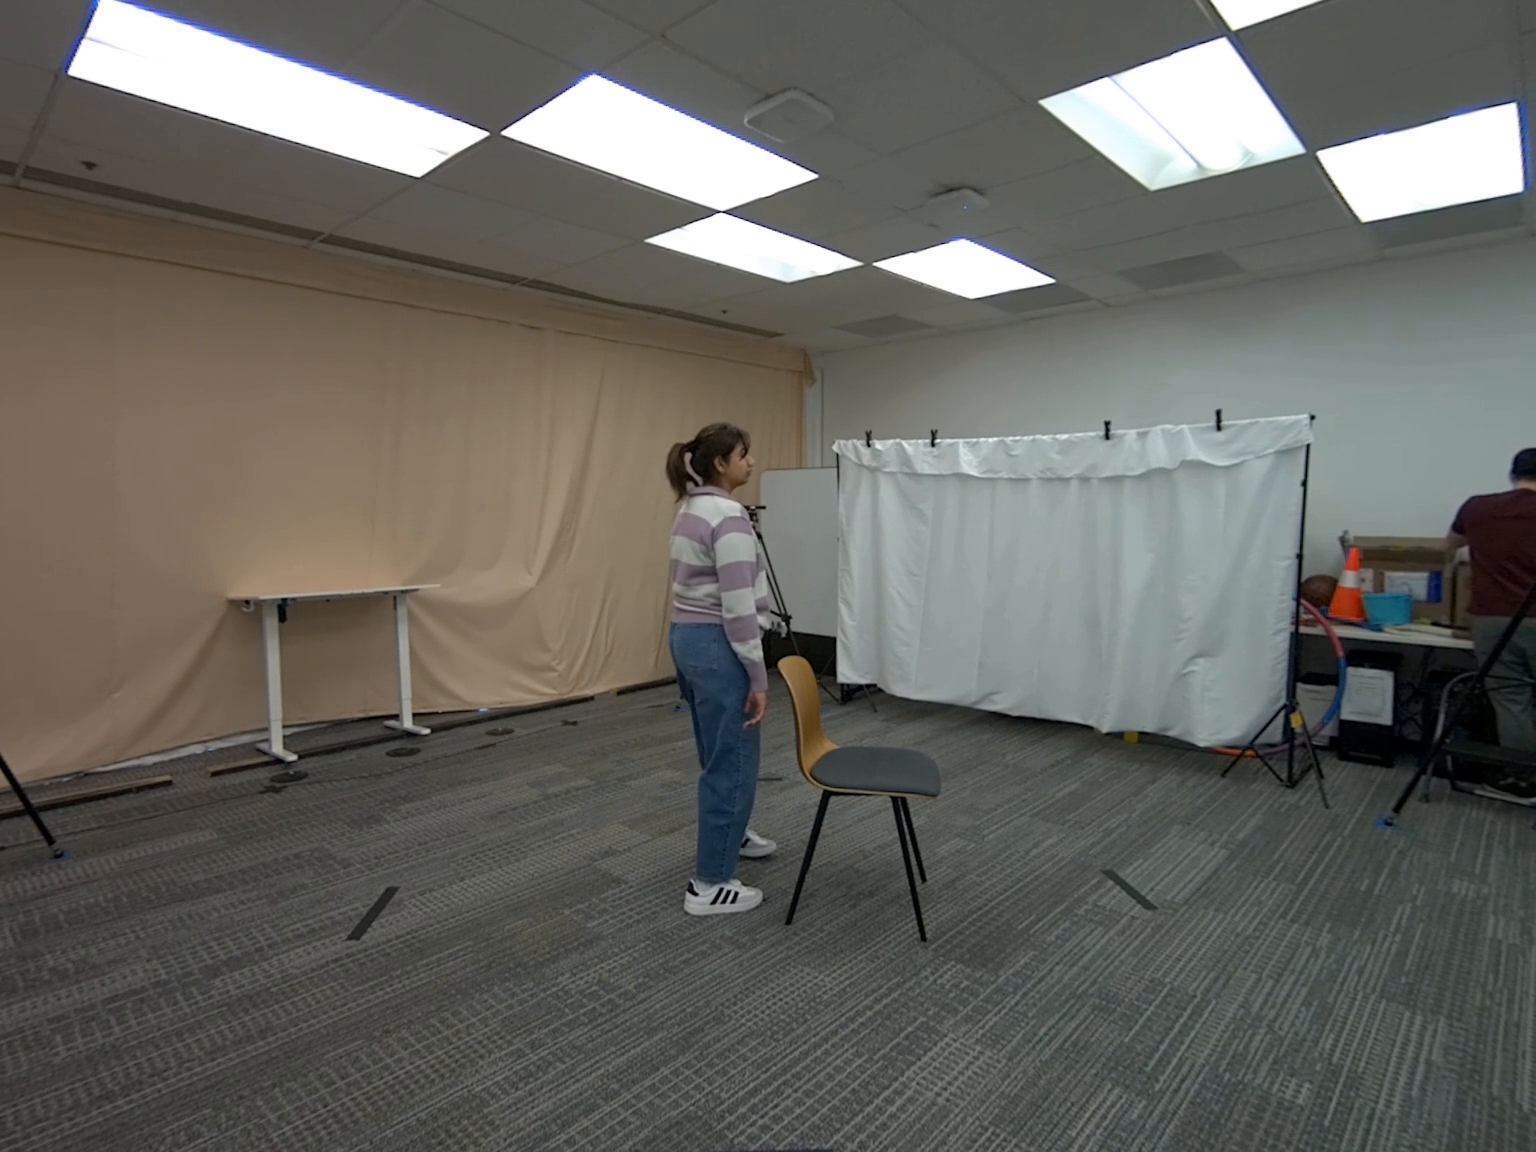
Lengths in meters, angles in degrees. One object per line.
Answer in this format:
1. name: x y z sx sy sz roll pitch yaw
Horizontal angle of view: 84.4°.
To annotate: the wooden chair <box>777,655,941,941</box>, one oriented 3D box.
1. wooden chair: 0.337 0.721 2.915 0.531 0.876 0.472 -3 2 13
